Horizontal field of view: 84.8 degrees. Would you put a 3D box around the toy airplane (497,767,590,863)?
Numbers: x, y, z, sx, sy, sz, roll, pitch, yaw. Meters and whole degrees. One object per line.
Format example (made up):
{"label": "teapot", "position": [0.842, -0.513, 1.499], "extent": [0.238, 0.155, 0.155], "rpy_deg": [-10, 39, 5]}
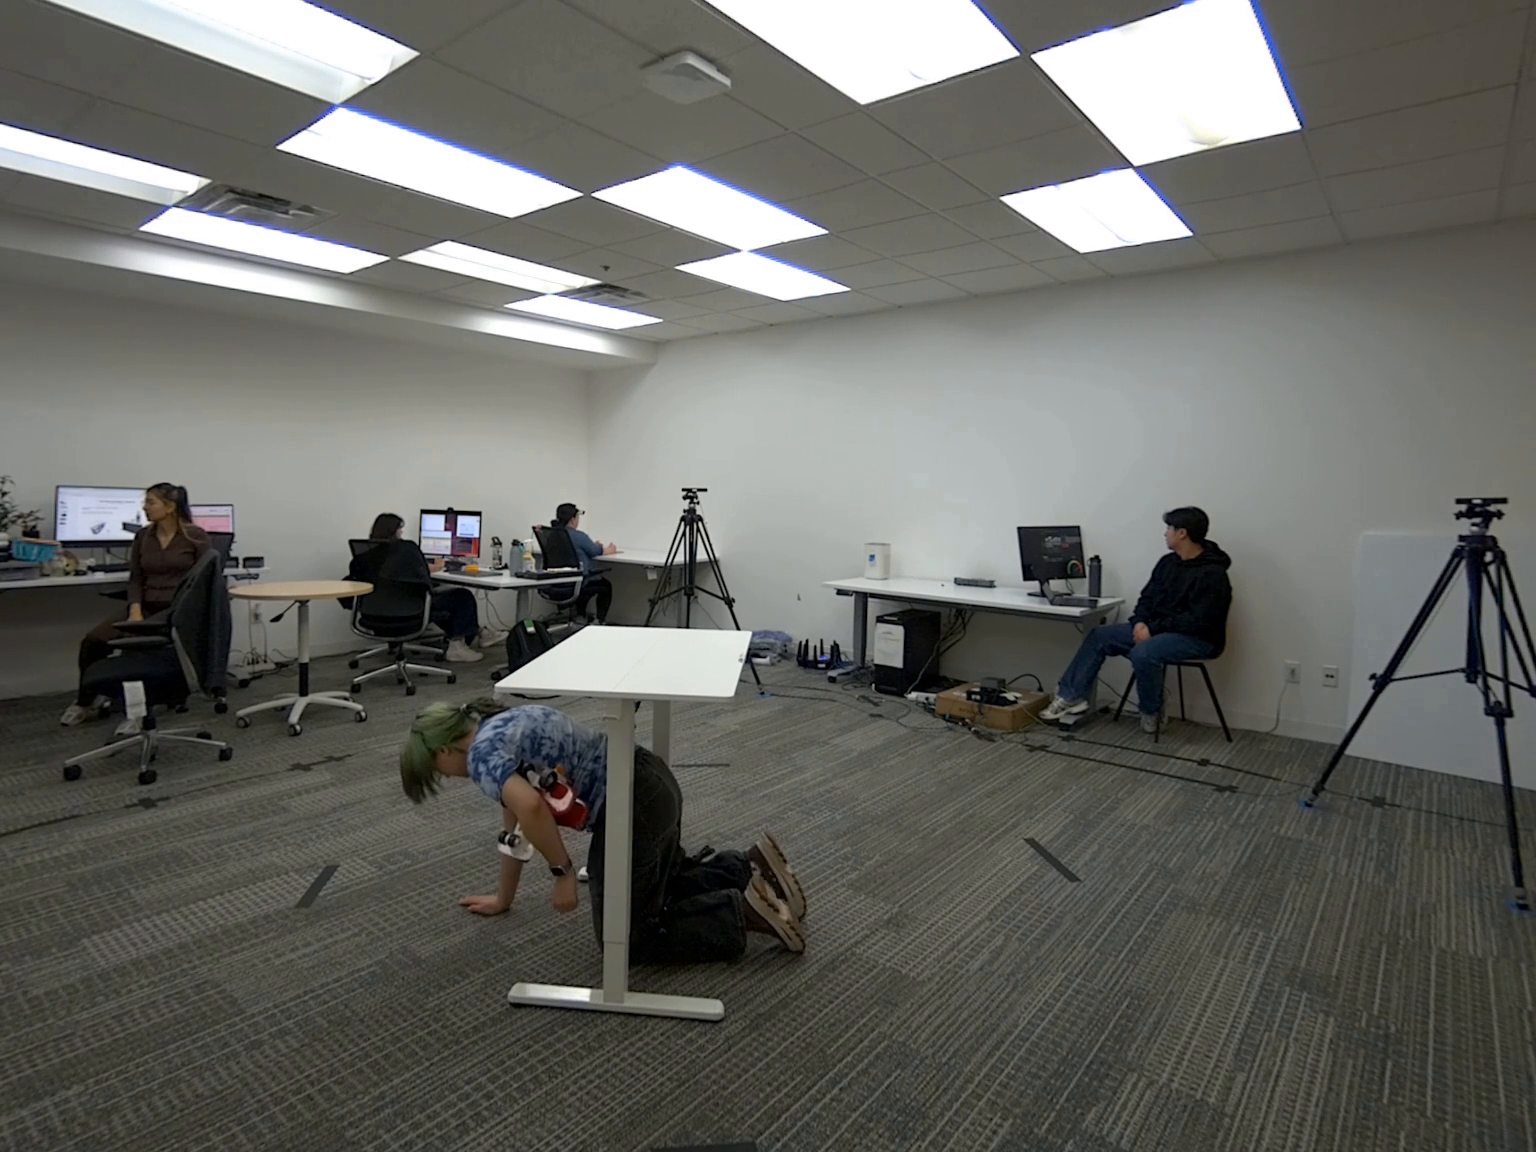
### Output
{"label": "toy airplane", "position": [-0.671, 0.654, 2.388], "extent": [0.262, 0.259, 0.150], "rpy_deg": [39, -6, 39]}
